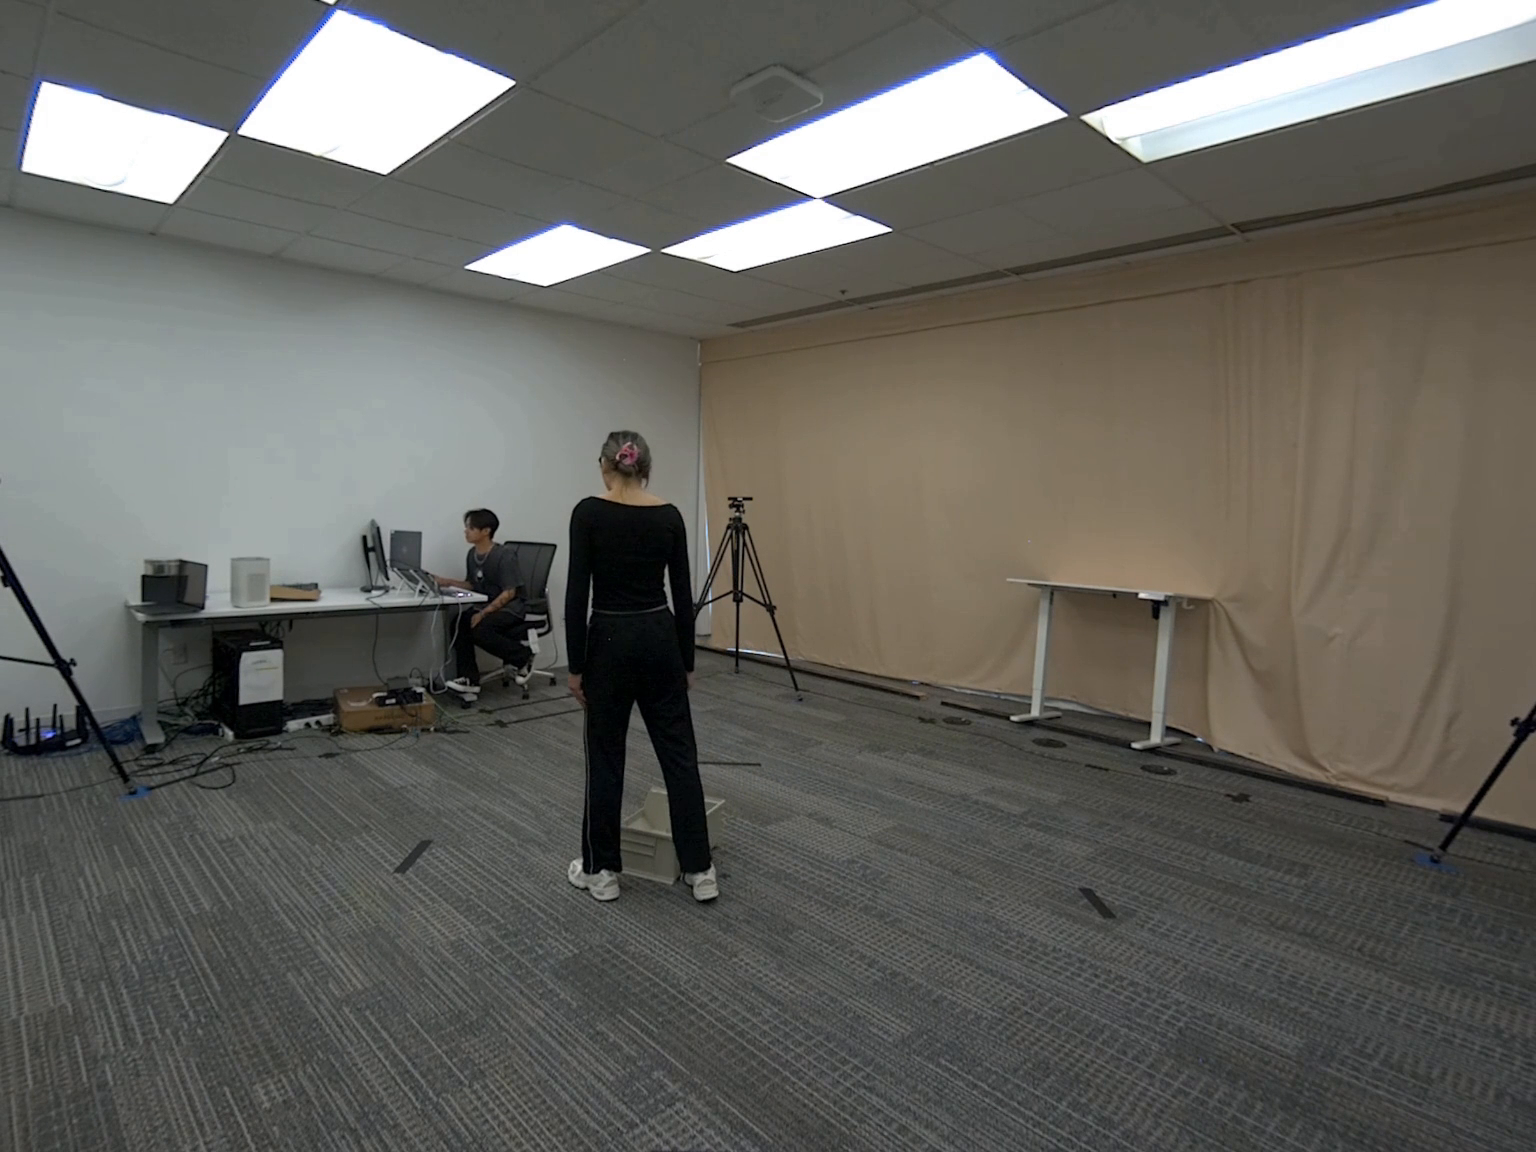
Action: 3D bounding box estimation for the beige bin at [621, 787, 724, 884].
[{"bbox_3d":[-0.435,0.999,3.276,0.384,0.188,0.416,5,6,23],"label":"beige bin"}]
